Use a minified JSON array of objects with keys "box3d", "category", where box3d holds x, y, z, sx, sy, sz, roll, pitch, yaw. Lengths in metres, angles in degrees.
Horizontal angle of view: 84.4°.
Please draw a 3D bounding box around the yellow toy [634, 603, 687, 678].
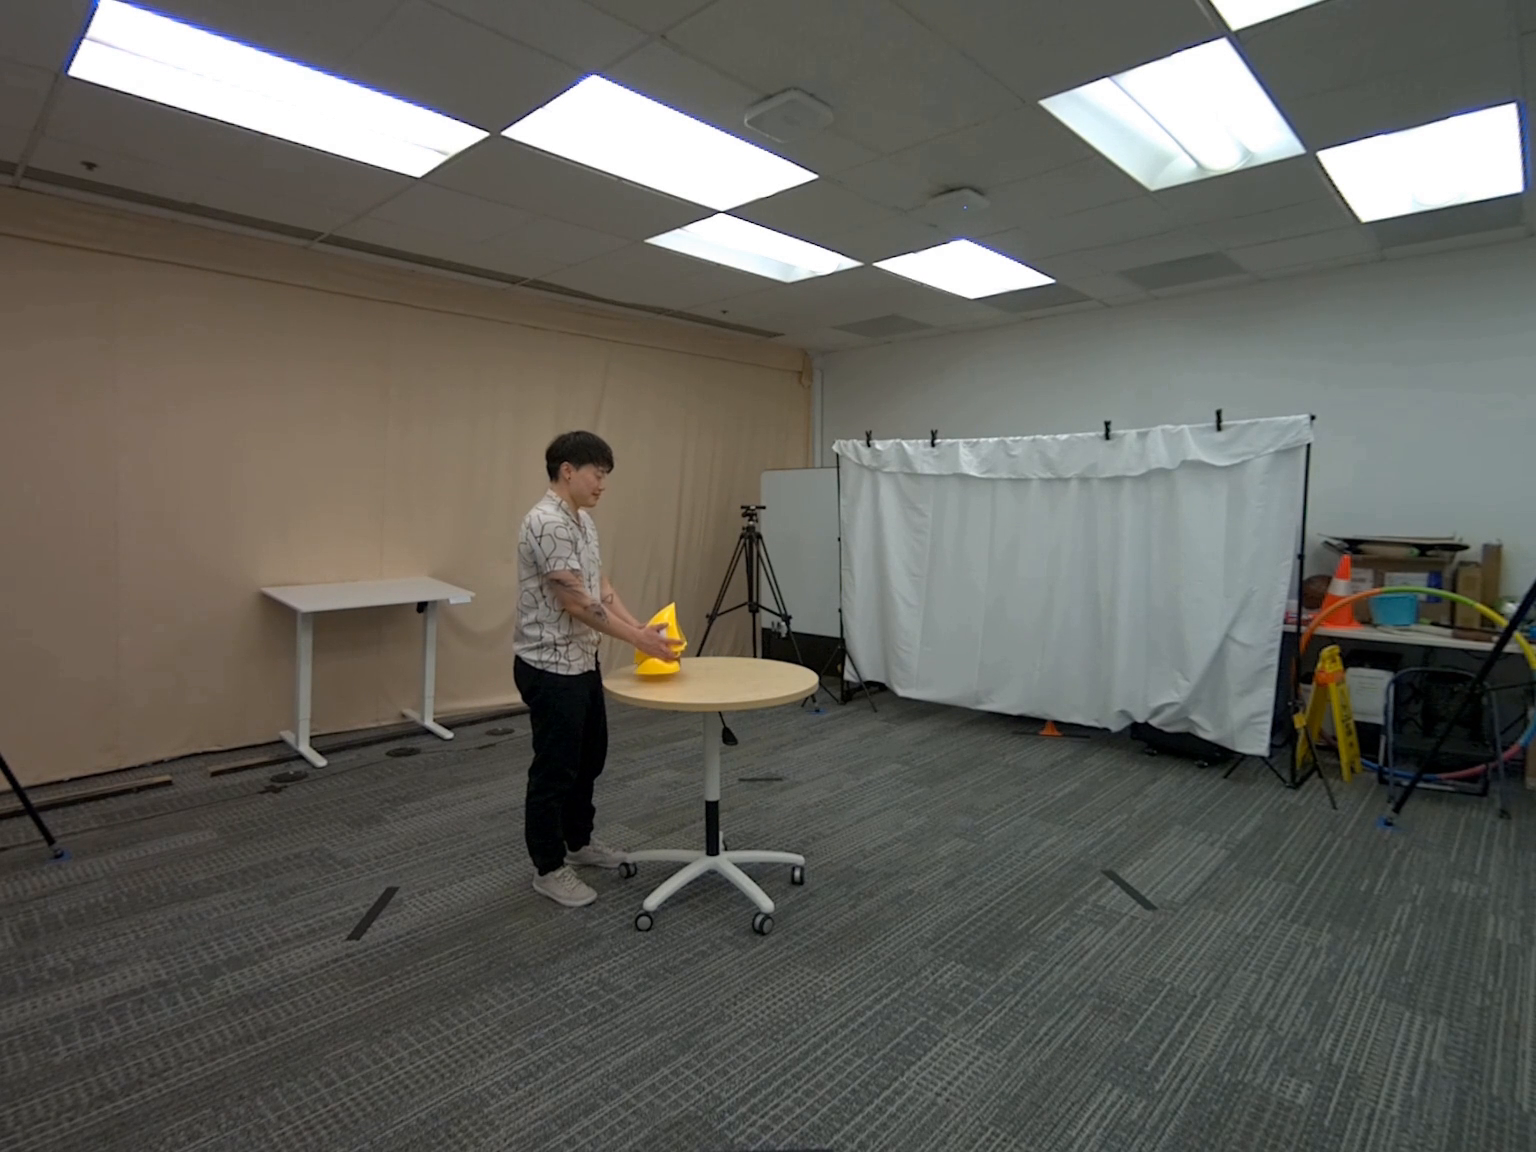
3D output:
[{"box3d":[-0.384,0.212,2.985,0.193,0.230,0.206,-4,5,-3],"category":"yellow toy"}]
